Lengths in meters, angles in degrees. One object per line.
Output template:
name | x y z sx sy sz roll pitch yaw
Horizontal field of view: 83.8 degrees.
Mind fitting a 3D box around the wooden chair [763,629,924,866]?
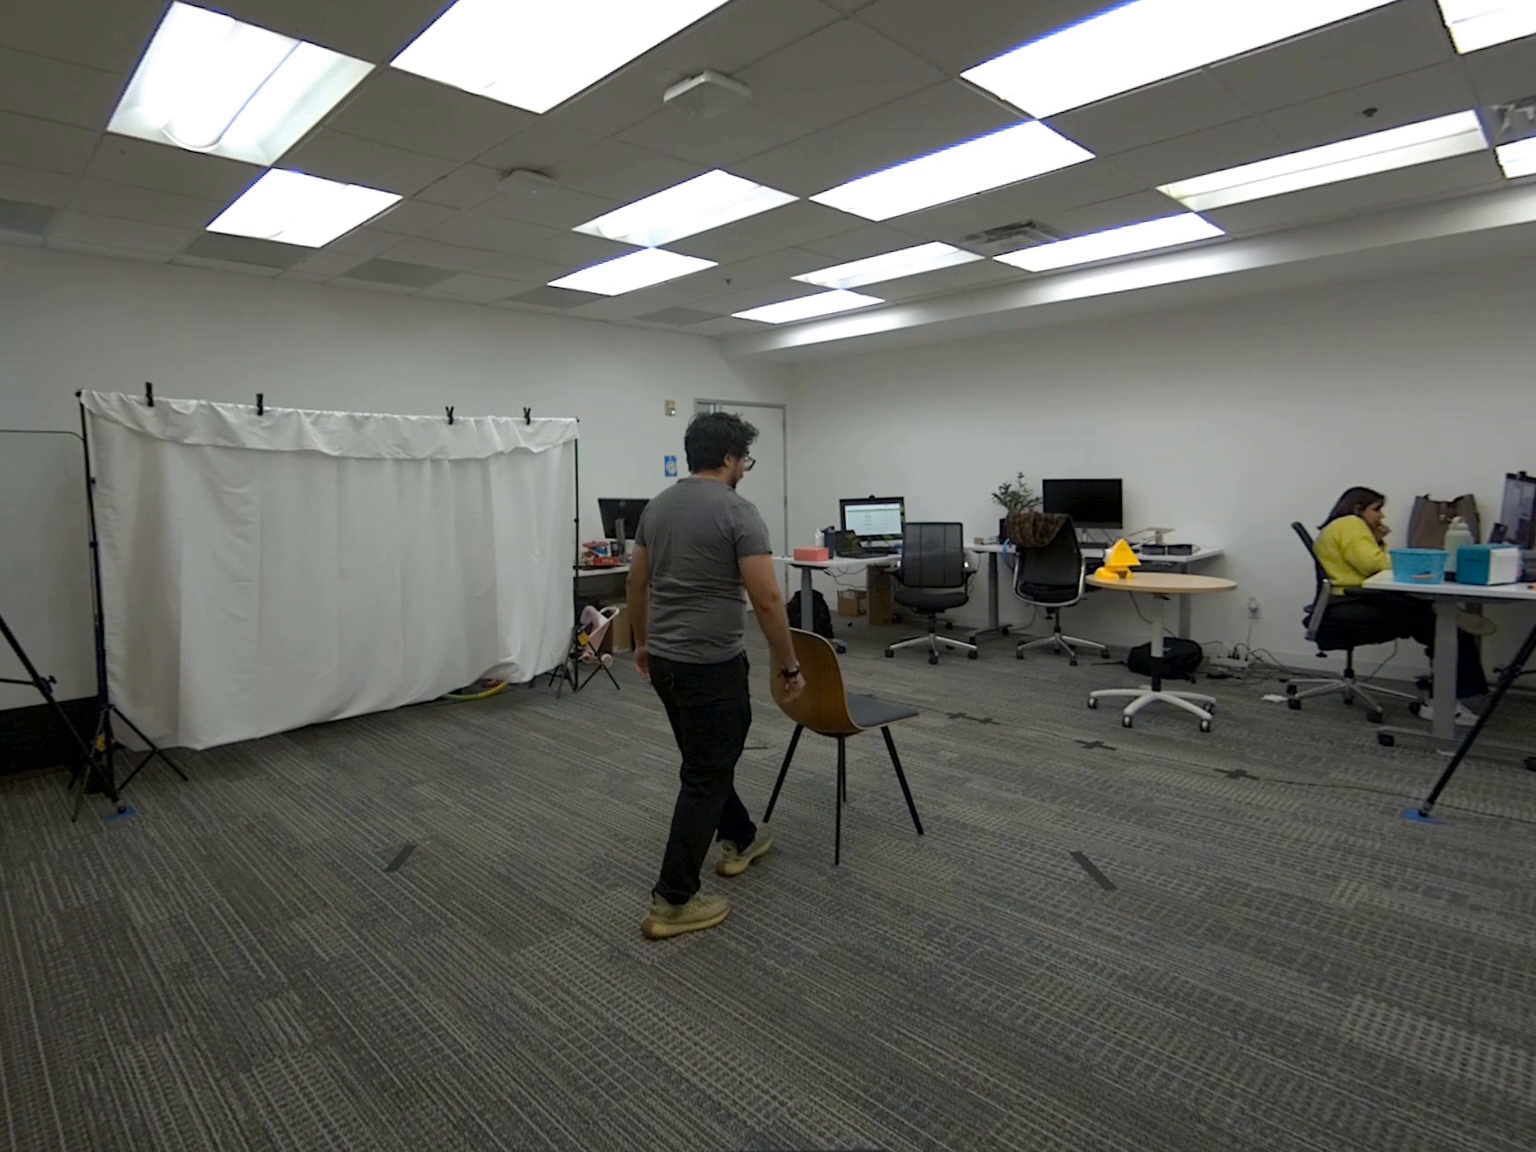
wooden chair | 0.293 0.582 3.353 0.511 0.872 0.492 -9 8 -35
